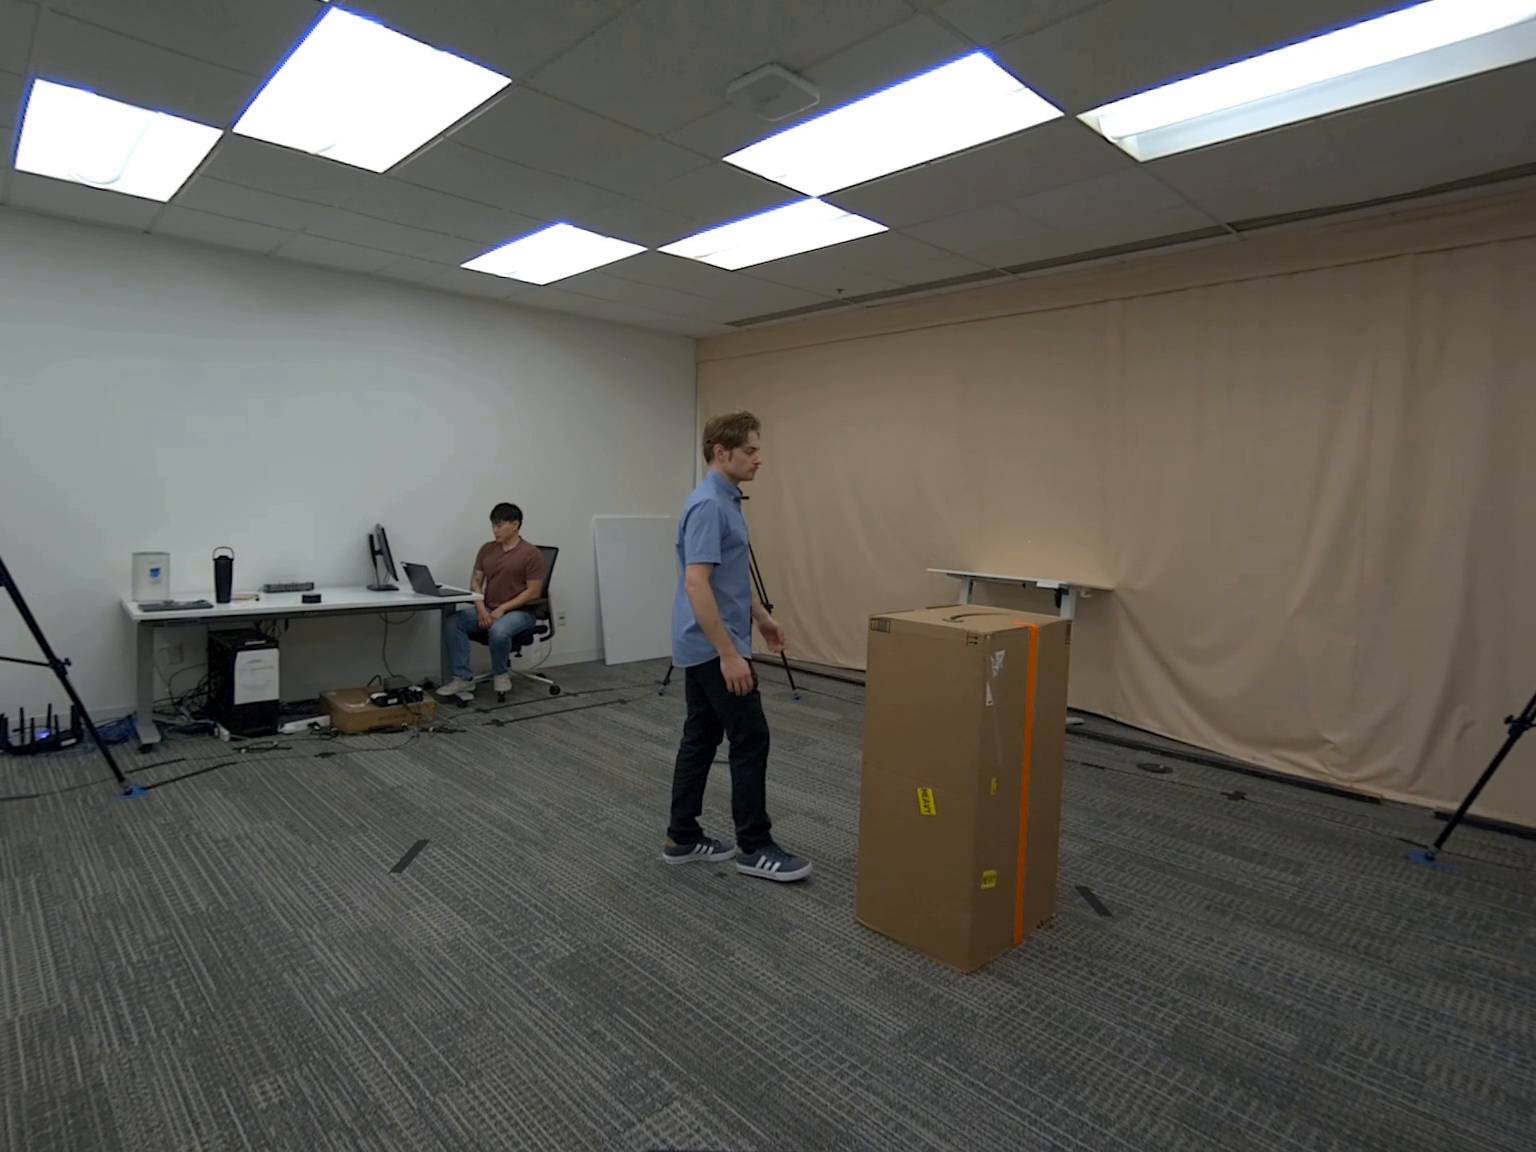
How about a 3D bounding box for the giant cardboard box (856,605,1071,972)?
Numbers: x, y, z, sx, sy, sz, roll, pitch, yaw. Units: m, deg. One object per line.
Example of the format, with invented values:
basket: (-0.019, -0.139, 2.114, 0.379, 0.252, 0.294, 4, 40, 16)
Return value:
giant cardboard box: (0.654, 0.646, 2.794, 0.564, 1.023, 0.437, -1, 4, -44)
